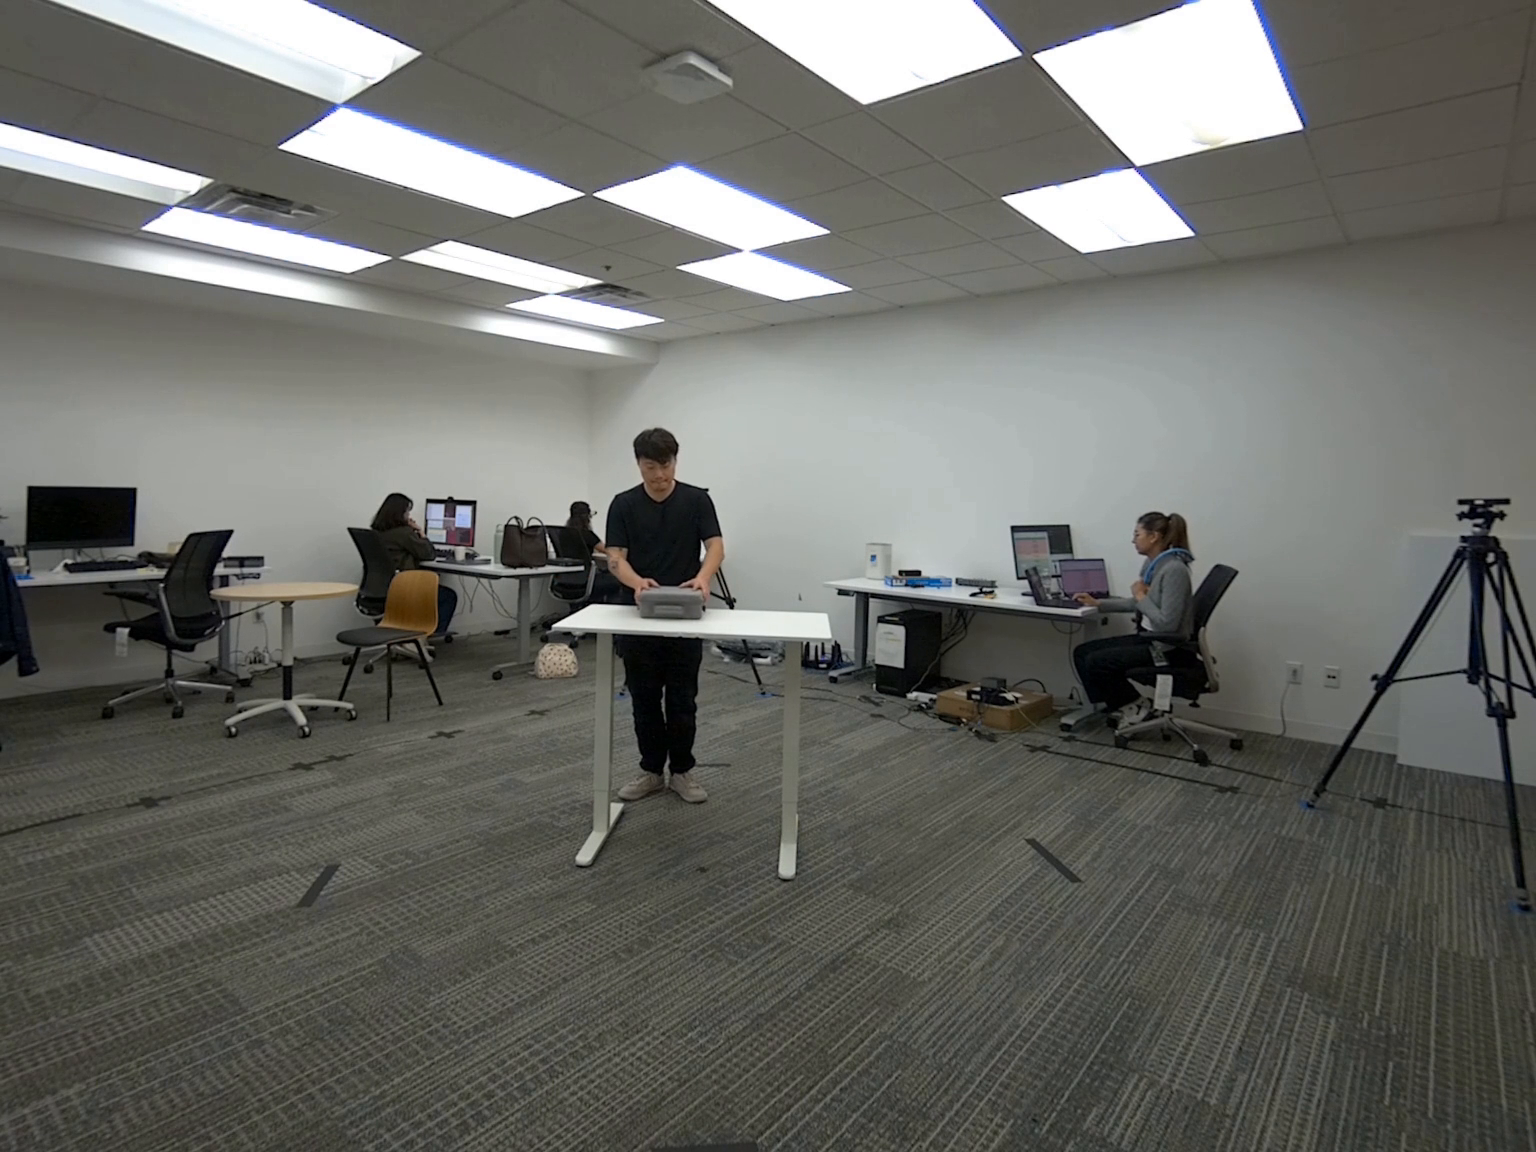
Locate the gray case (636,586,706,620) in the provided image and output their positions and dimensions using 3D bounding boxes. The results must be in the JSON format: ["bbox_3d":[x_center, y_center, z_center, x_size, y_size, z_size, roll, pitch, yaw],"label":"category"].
[{"bbox_3d":[-0.395,0.106,3.405,0.257,0.104,0.261,1,4,-1],"label":"gray case"}]
